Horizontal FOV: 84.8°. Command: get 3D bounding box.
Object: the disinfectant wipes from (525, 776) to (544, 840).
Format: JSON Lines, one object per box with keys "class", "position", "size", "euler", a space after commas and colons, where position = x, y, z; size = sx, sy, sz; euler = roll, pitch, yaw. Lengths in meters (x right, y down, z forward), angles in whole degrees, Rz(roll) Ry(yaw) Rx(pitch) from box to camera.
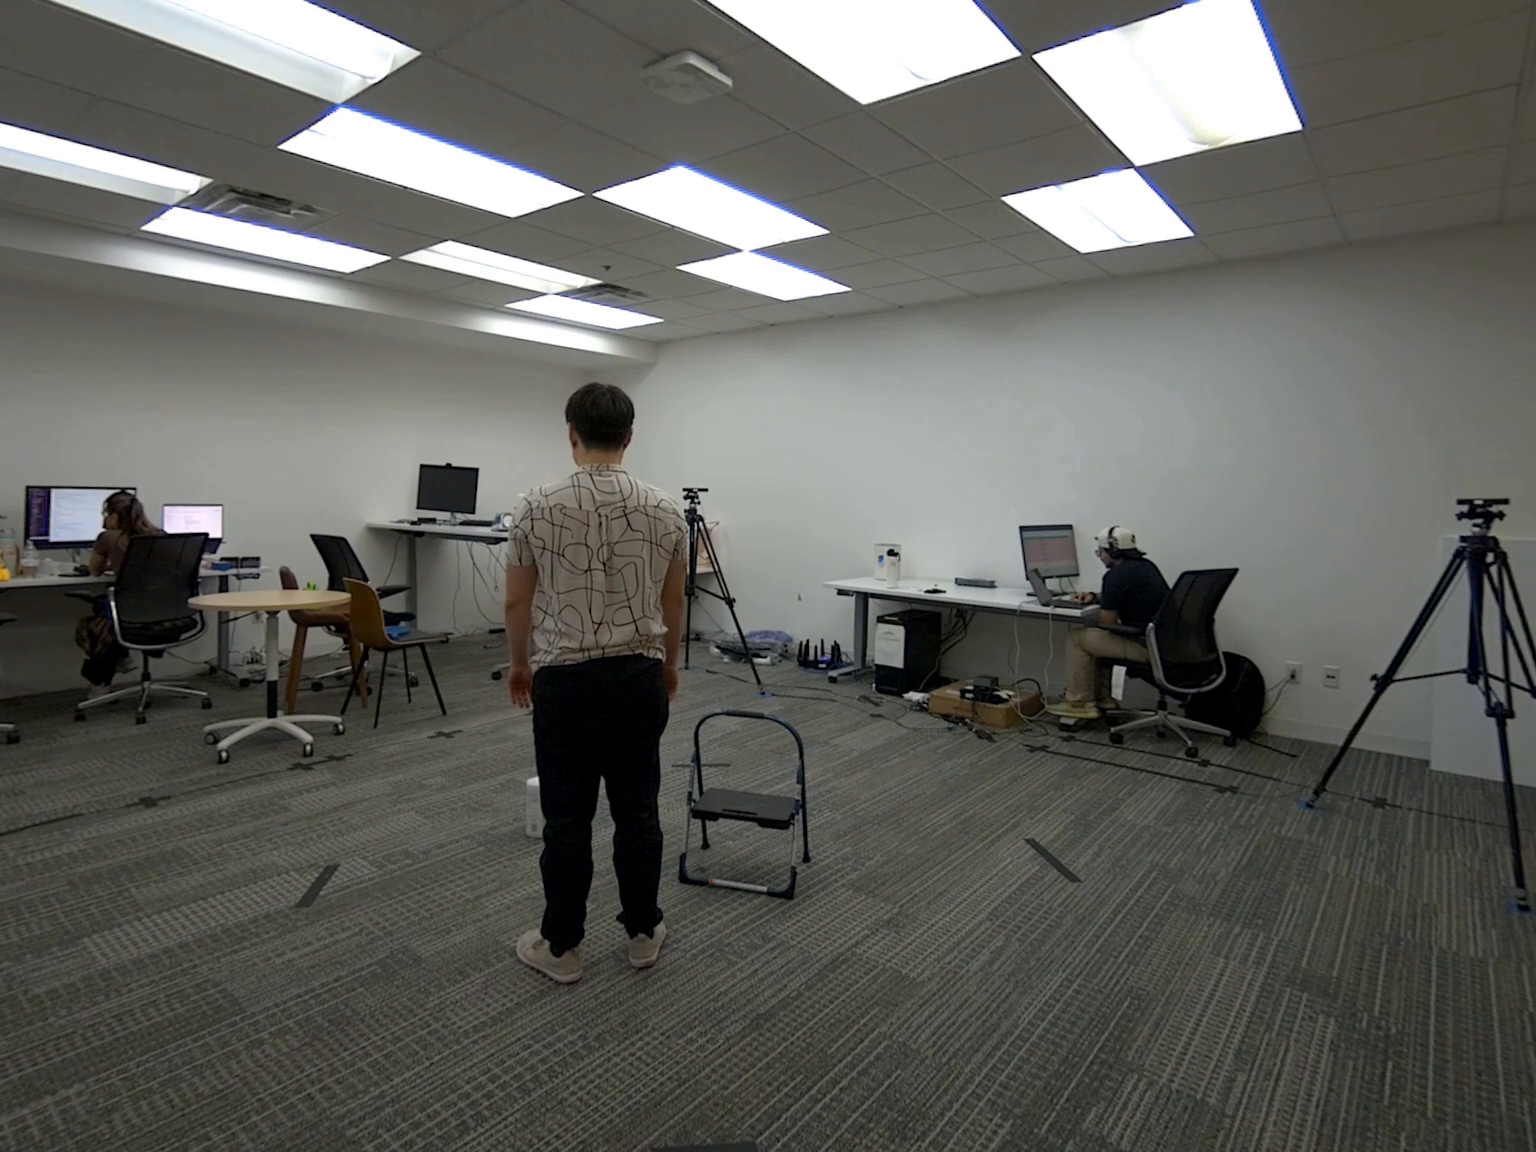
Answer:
{"class": "disinfectant wipes", "position": [-0.934, 0.923, 3.407], "size": [0.118, 0.217, 0.118], "euler": [1, 3, -2]}
